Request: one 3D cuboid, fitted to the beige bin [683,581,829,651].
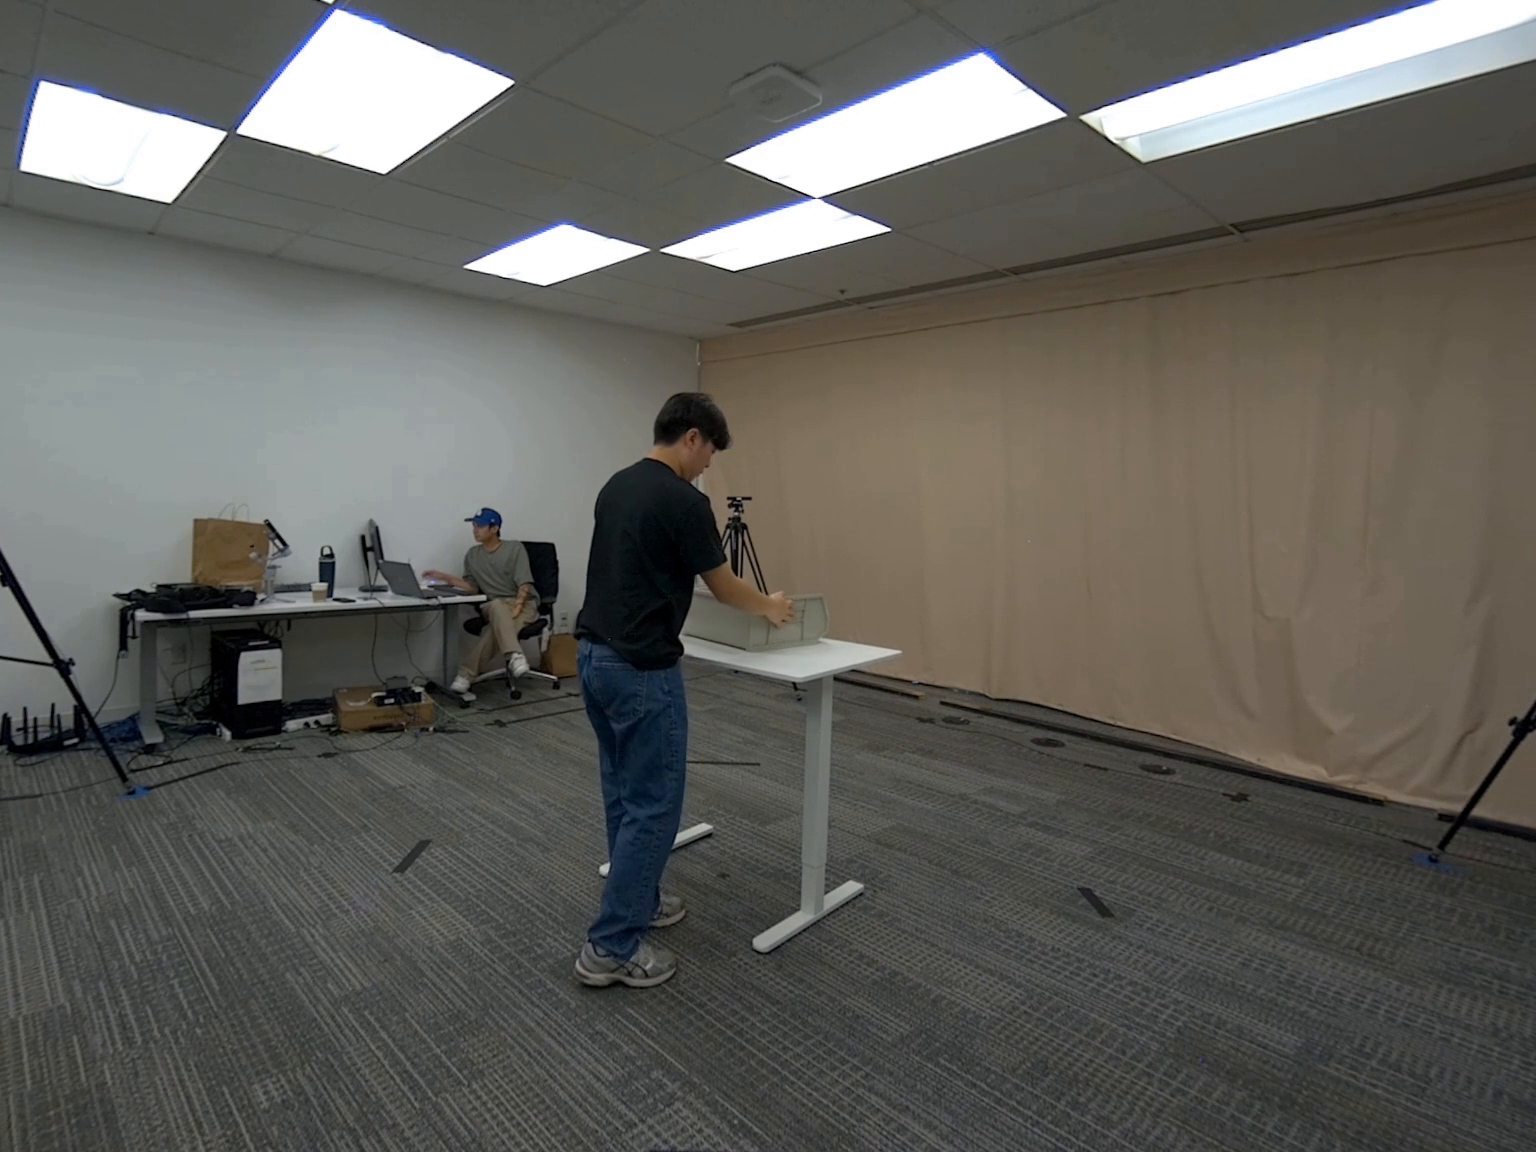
[{"bbox_3d":[-0.054,0.142,3.059,0.369,0.188,0.433,-4,8,-39],"label":"beige bin"}]
